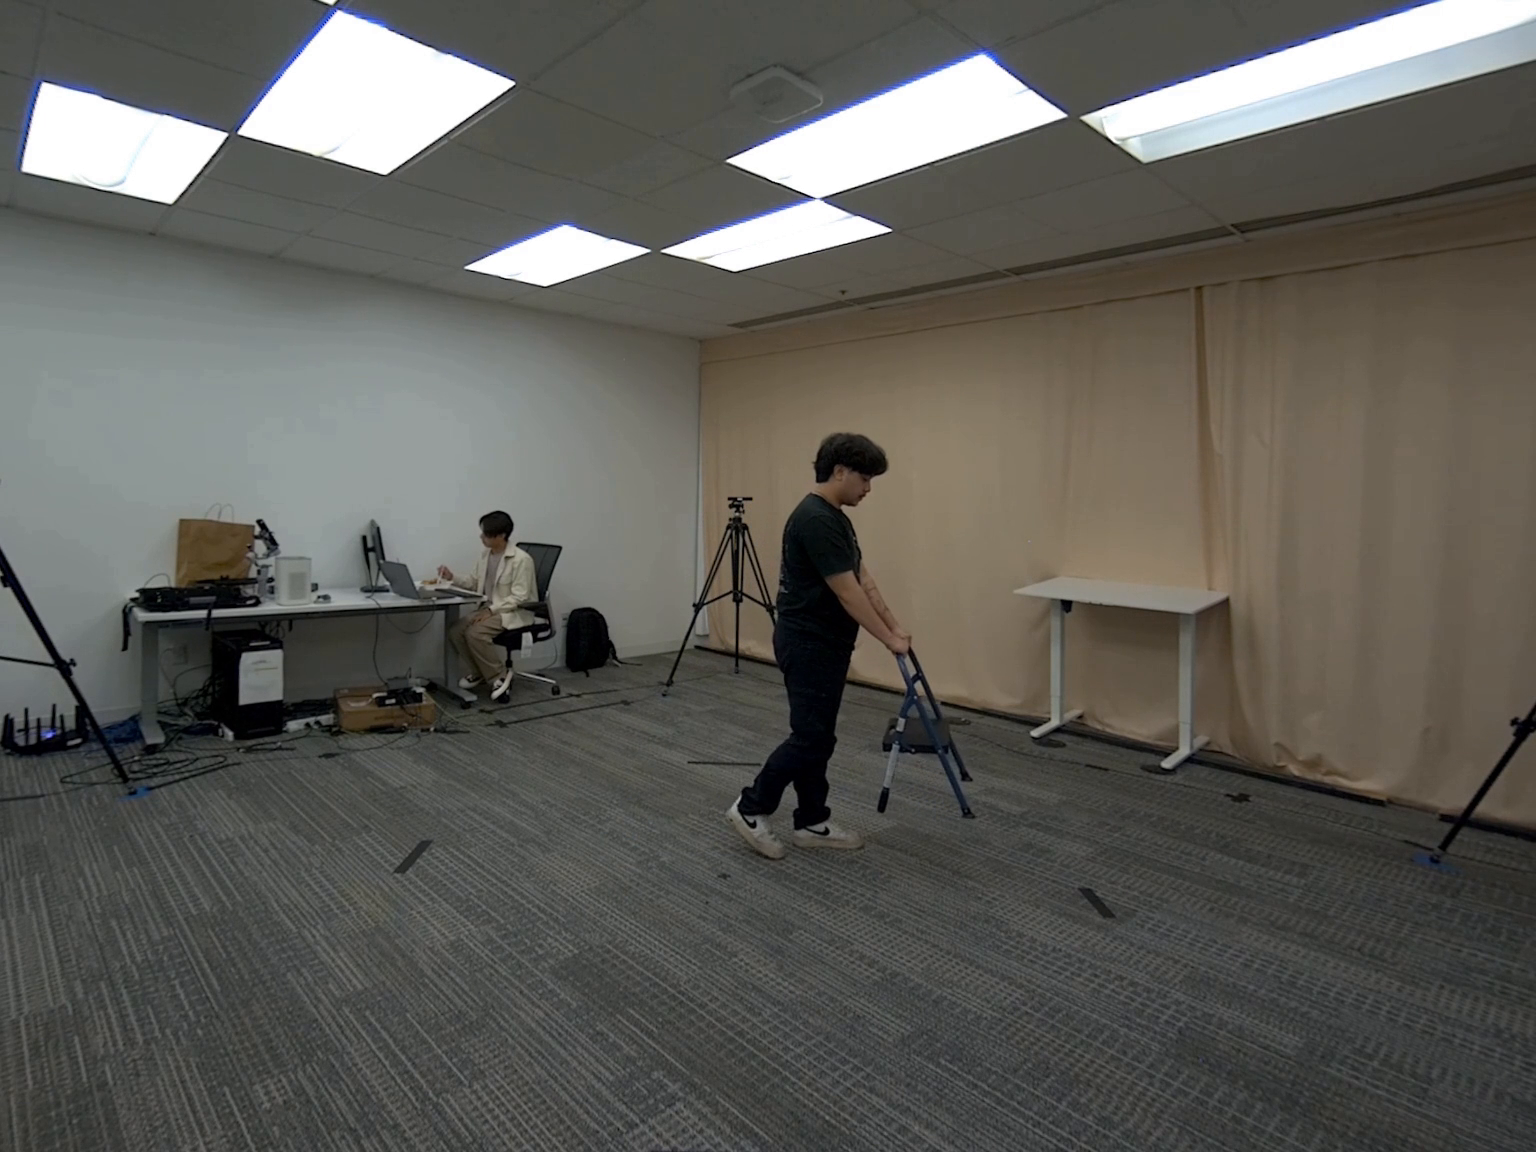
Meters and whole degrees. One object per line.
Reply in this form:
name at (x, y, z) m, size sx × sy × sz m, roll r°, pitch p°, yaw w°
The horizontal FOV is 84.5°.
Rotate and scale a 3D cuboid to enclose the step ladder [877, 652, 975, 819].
step ladder at (0.597, 0.567, 3.279) m, size 0.353 × 0.604 × 0.427 m, roll -3°, pitch 3°, yaw 13°
